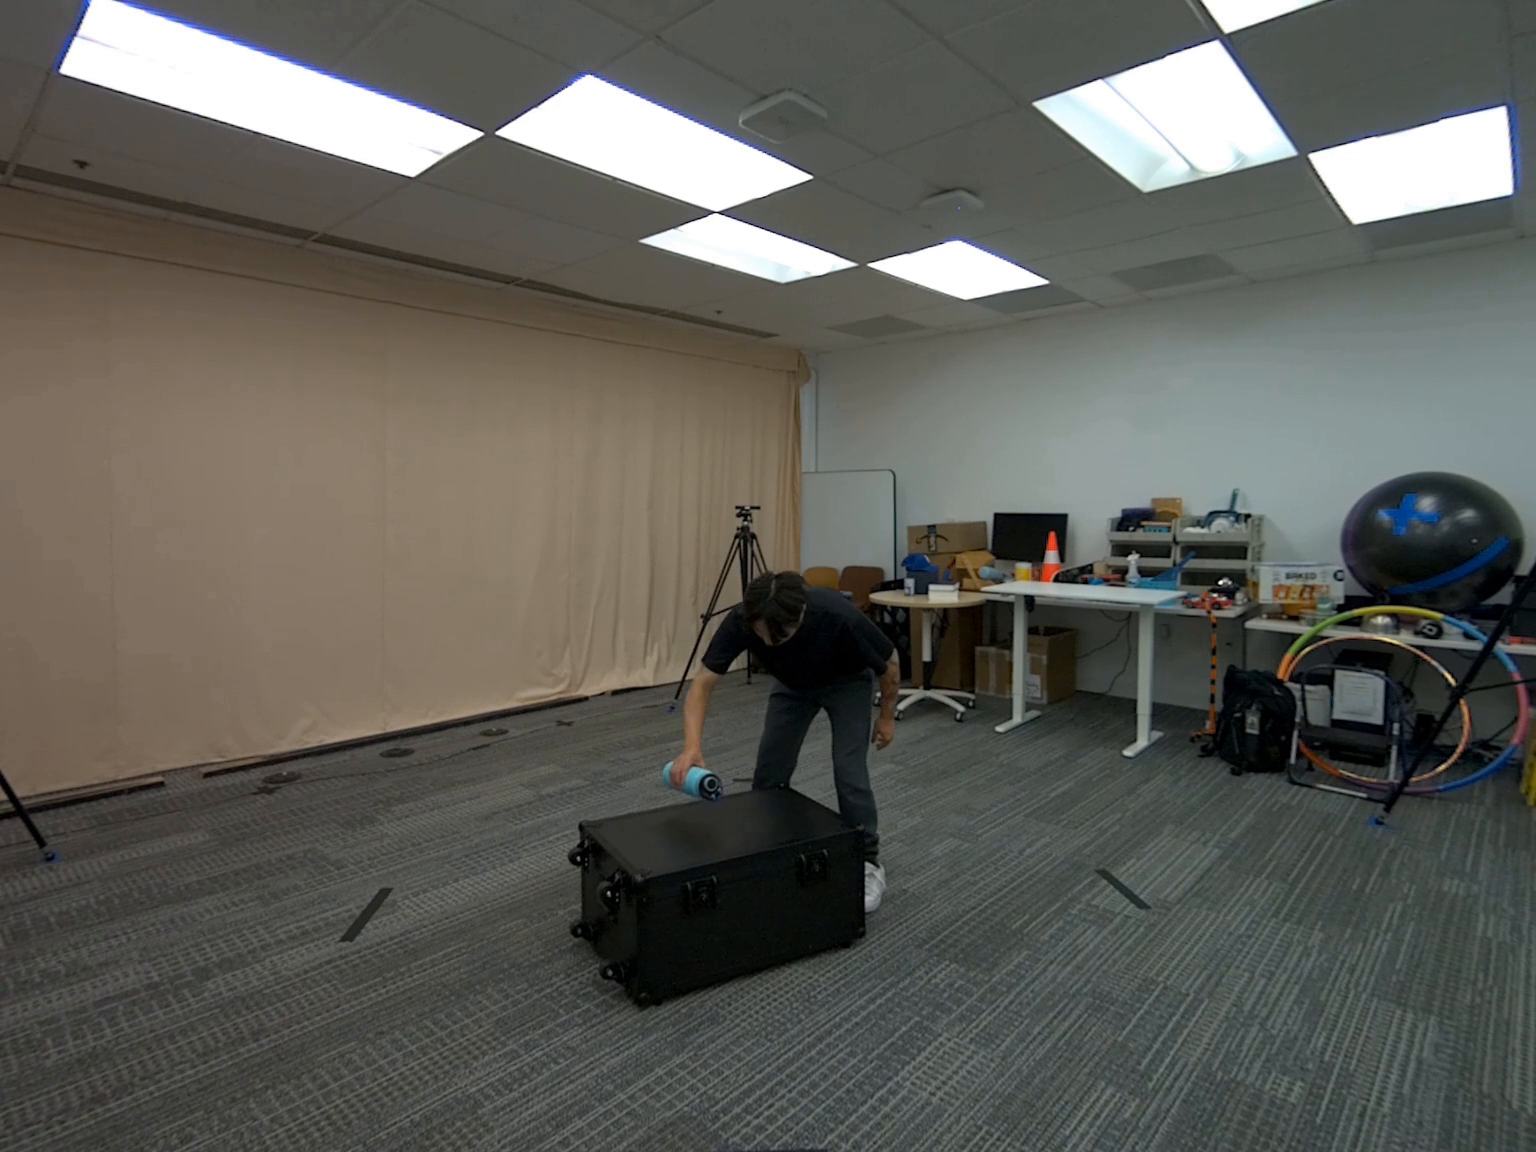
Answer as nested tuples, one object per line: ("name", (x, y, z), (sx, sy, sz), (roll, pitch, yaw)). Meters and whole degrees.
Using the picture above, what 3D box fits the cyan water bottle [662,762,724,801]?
("cyan water bottle", (-0.227, 0.651, 2.679), (0.090, 0.092, 0.290), (-2, -2, -31))
